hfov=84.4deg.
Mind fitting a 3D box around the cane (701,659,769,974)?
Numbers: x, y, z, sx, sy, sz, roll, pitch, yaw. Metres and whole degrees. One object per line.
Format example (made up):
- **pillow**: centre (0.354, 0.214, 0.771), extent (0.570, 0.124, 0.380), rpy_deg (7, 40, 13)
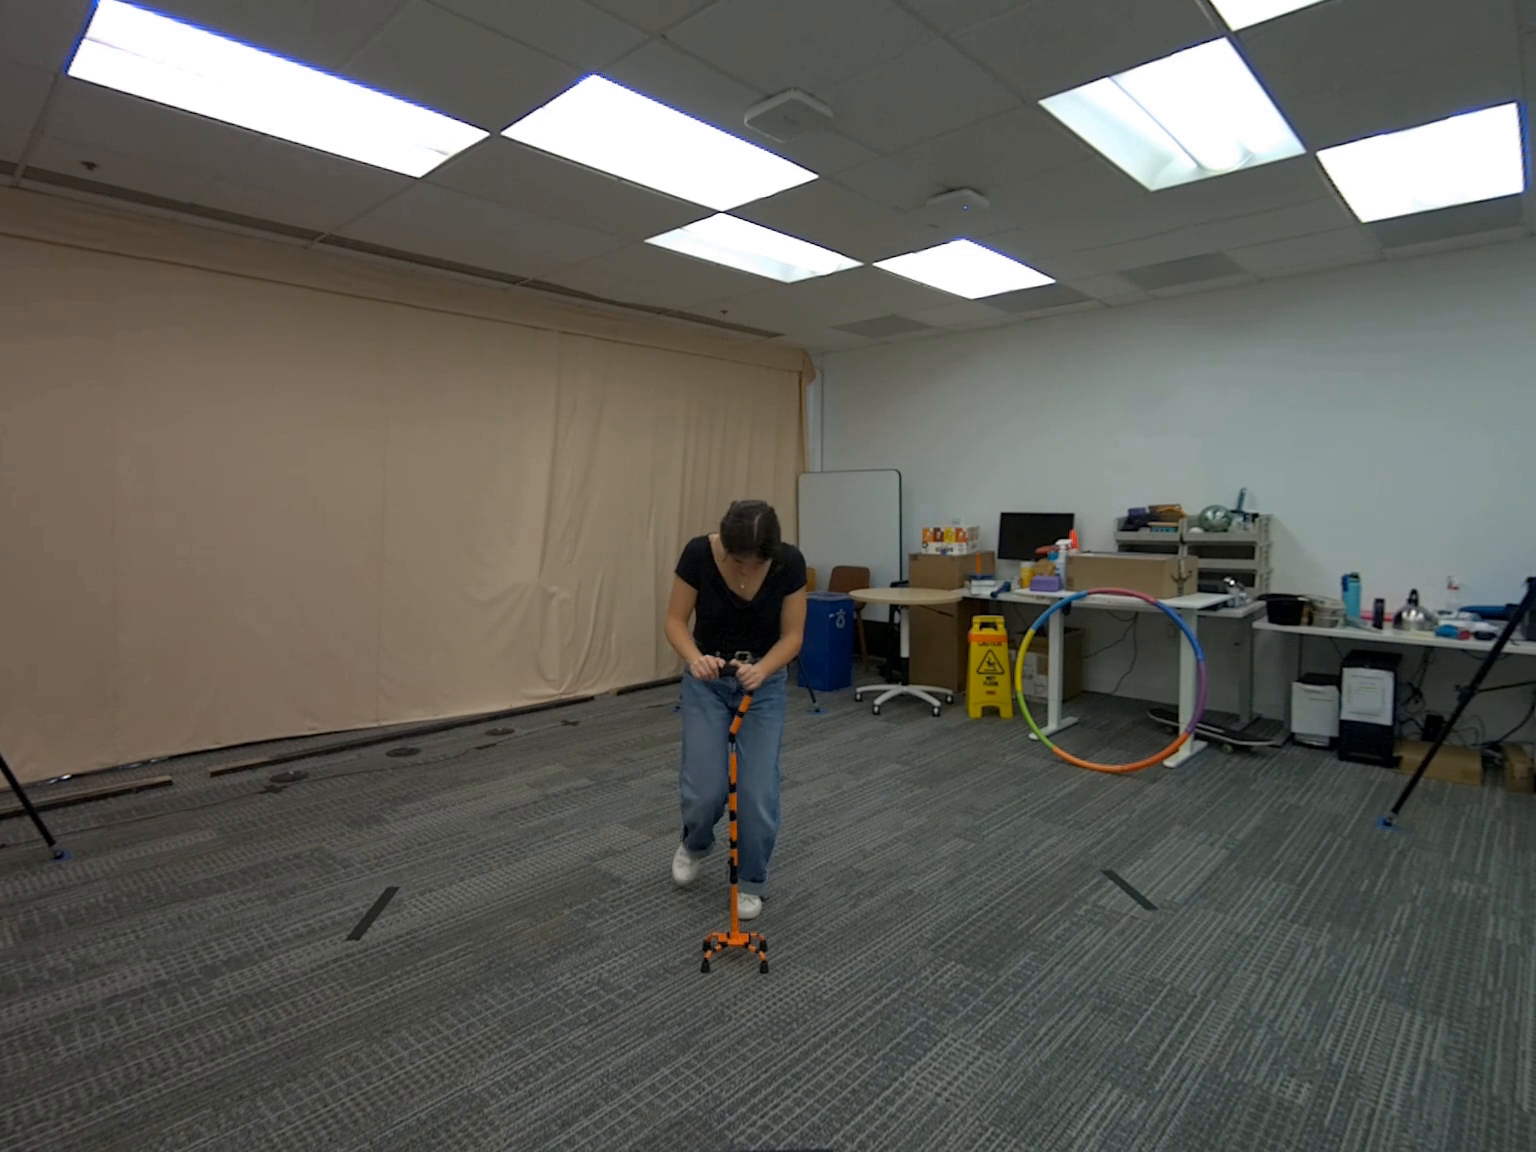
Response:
- **cane**: centre (-0.101, 0.719, 2.554), extent (0.206, 0.906, 0.152), rpy_deg (0, 3, 0)
